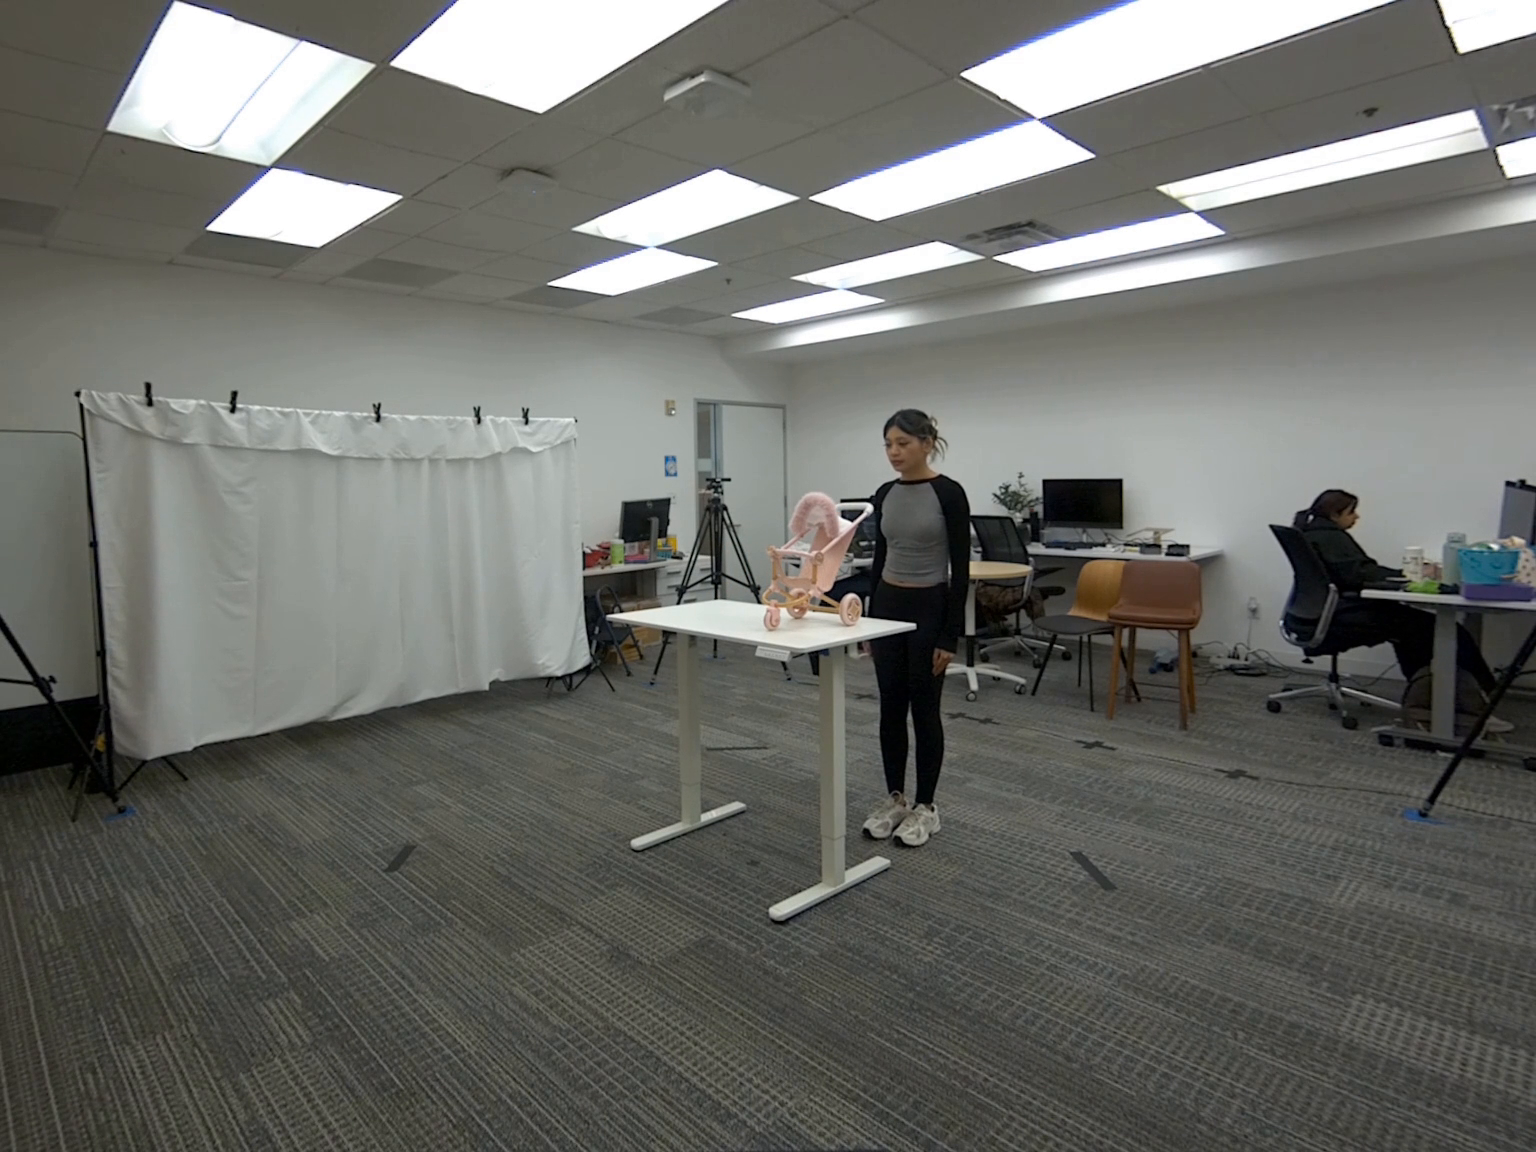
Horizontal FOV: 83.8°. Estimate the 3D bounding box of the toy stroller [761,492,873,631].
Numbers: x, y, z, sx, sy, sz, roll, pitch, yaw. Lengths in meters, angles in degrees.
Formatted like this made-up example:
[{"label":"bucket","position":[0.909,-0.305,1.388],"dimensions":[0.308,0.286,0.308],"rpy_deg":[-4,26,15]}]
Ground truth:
[{"label":"toy stroller","position":[0.151,-0.054,2.976],"dimensions":[0.329,0.537,0.290],"rpy_deg":[18,-9,-39]}]
